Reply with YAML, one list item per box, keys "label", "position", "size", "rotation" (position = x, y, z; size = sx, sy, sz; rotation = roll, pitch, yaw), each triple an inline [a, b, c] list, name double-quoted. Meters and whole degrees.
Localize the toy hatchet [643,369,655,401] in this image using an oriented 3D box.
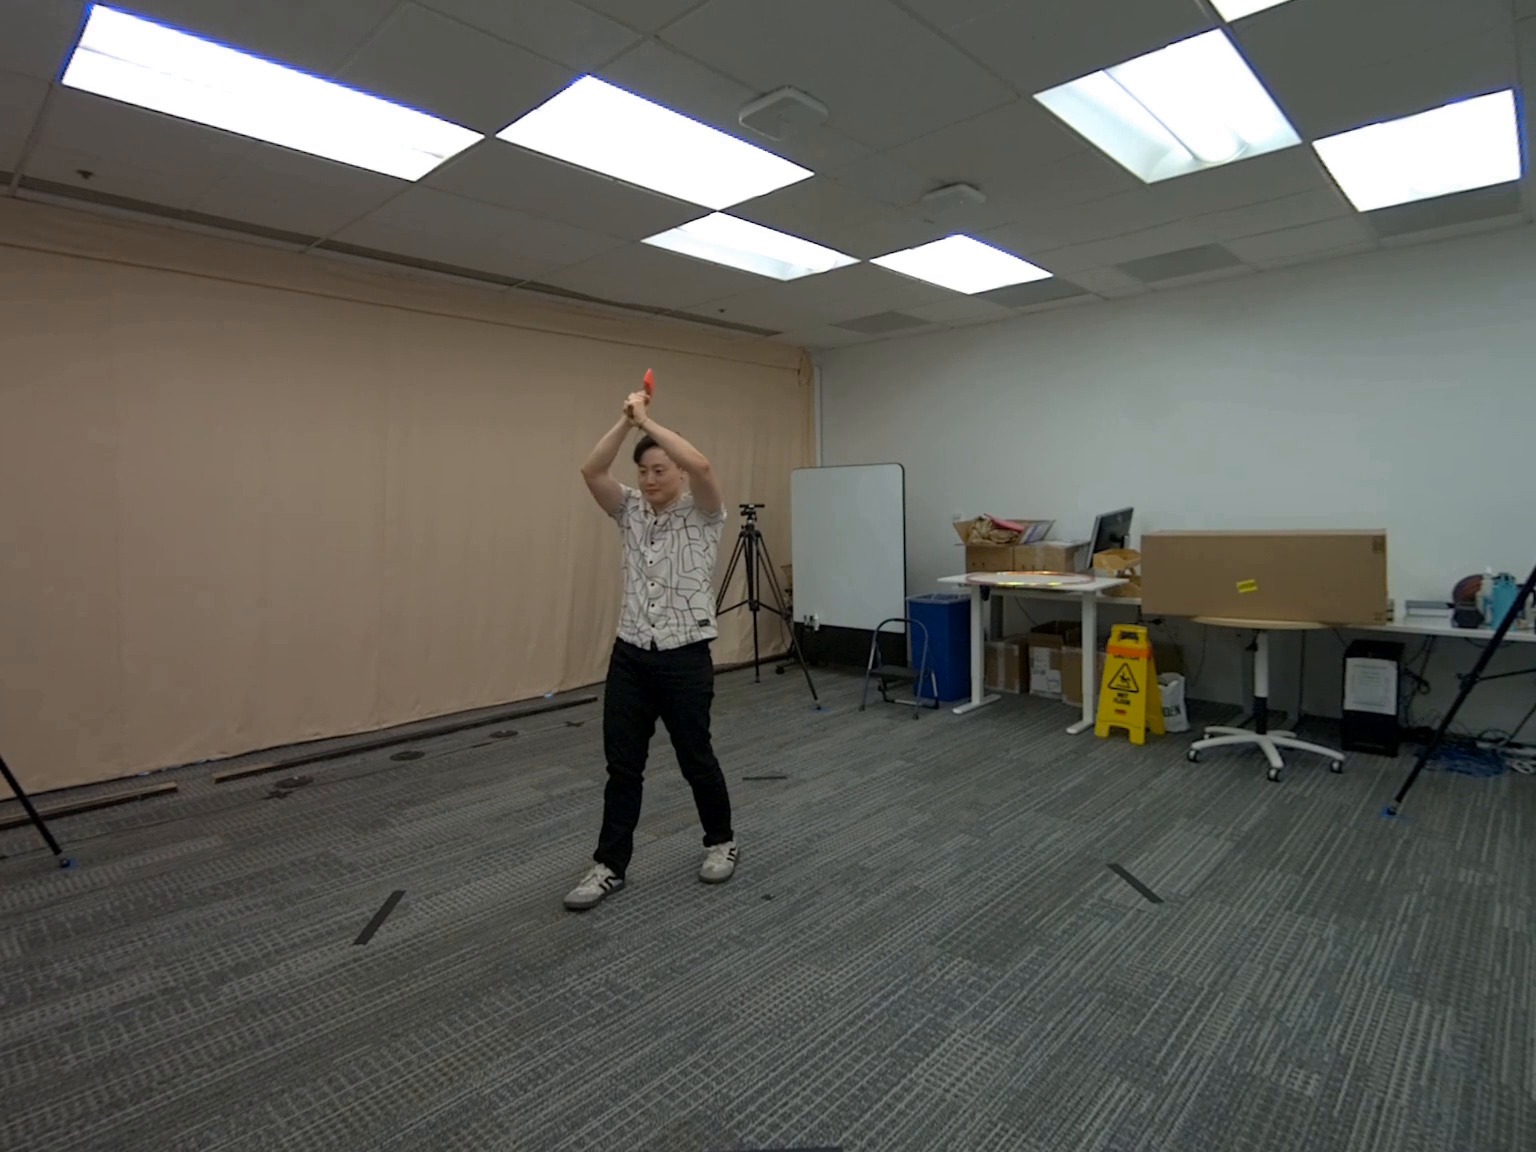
- label: "toy hatchet"
  position: [-0.437, -0.644, 2.871]
  size: [0.030, 0.130, 0.269]
  rotation: [13, 19, 6]
